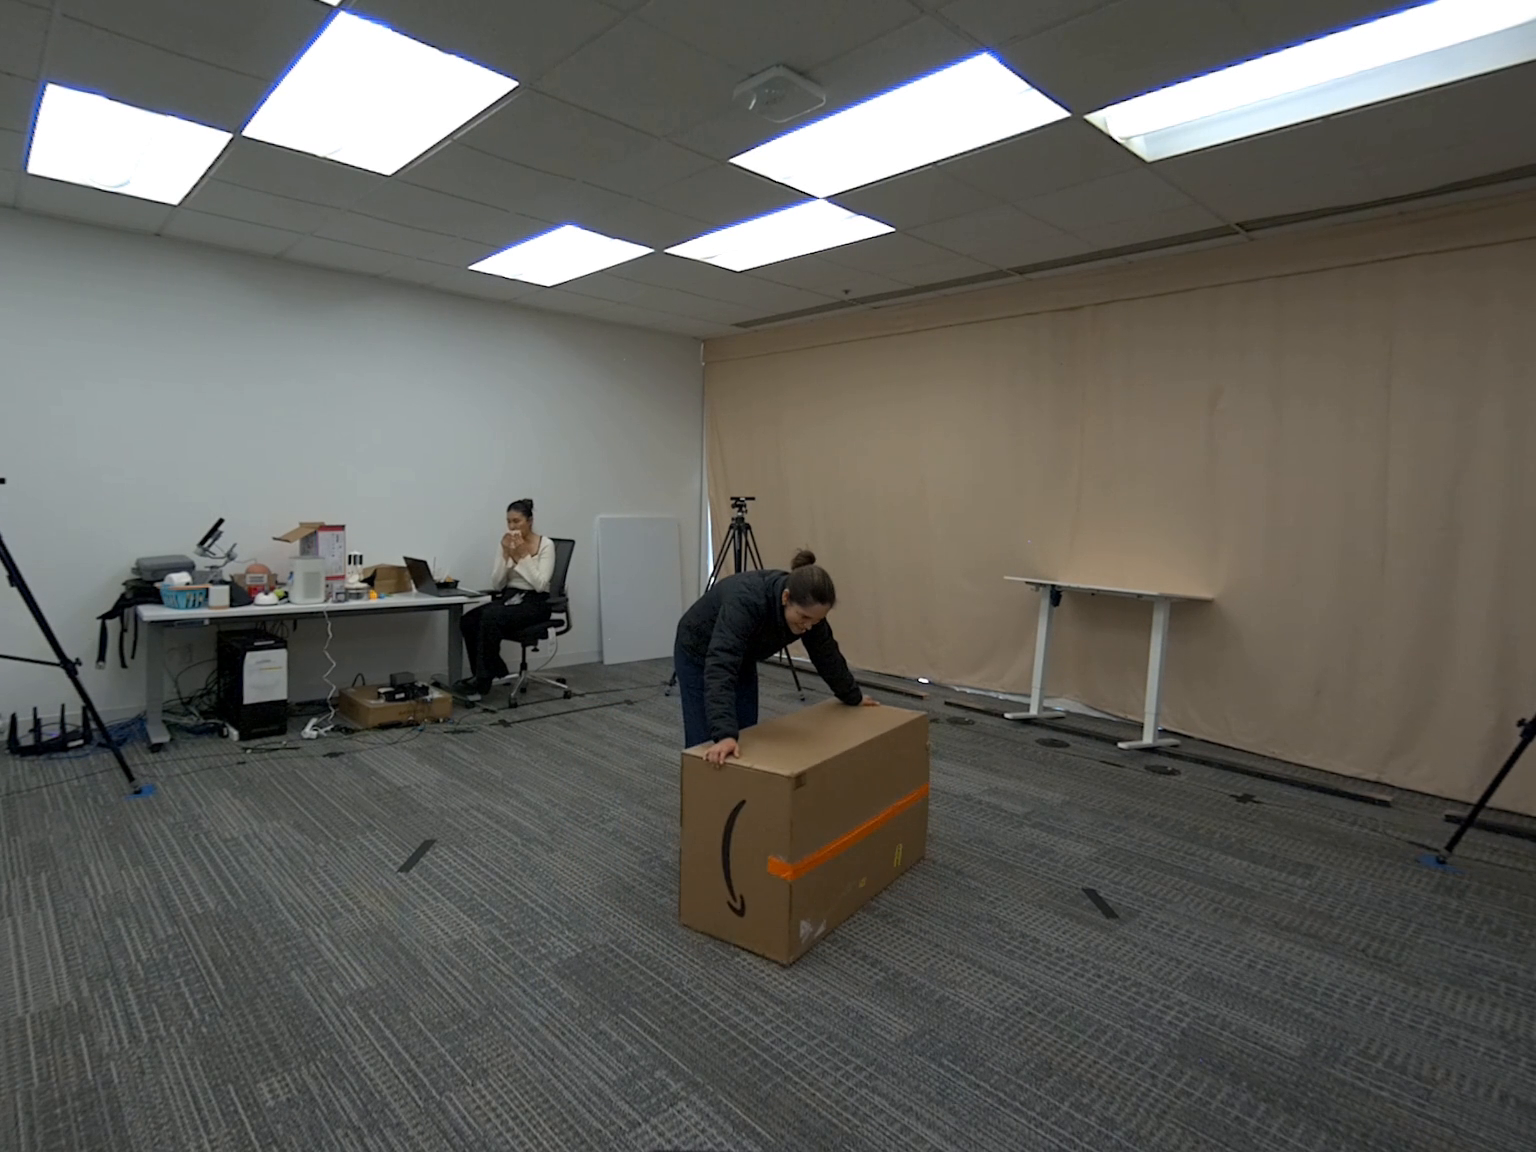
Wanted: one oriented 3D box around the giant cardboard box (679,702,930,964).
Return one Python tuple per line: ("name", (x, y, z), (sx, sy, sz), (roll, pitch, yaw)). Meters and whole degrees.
("giant cardboard box", (0.169, 0.837, 3.003), (0.457, 0.583, 1.005), (2, 4, 34))
